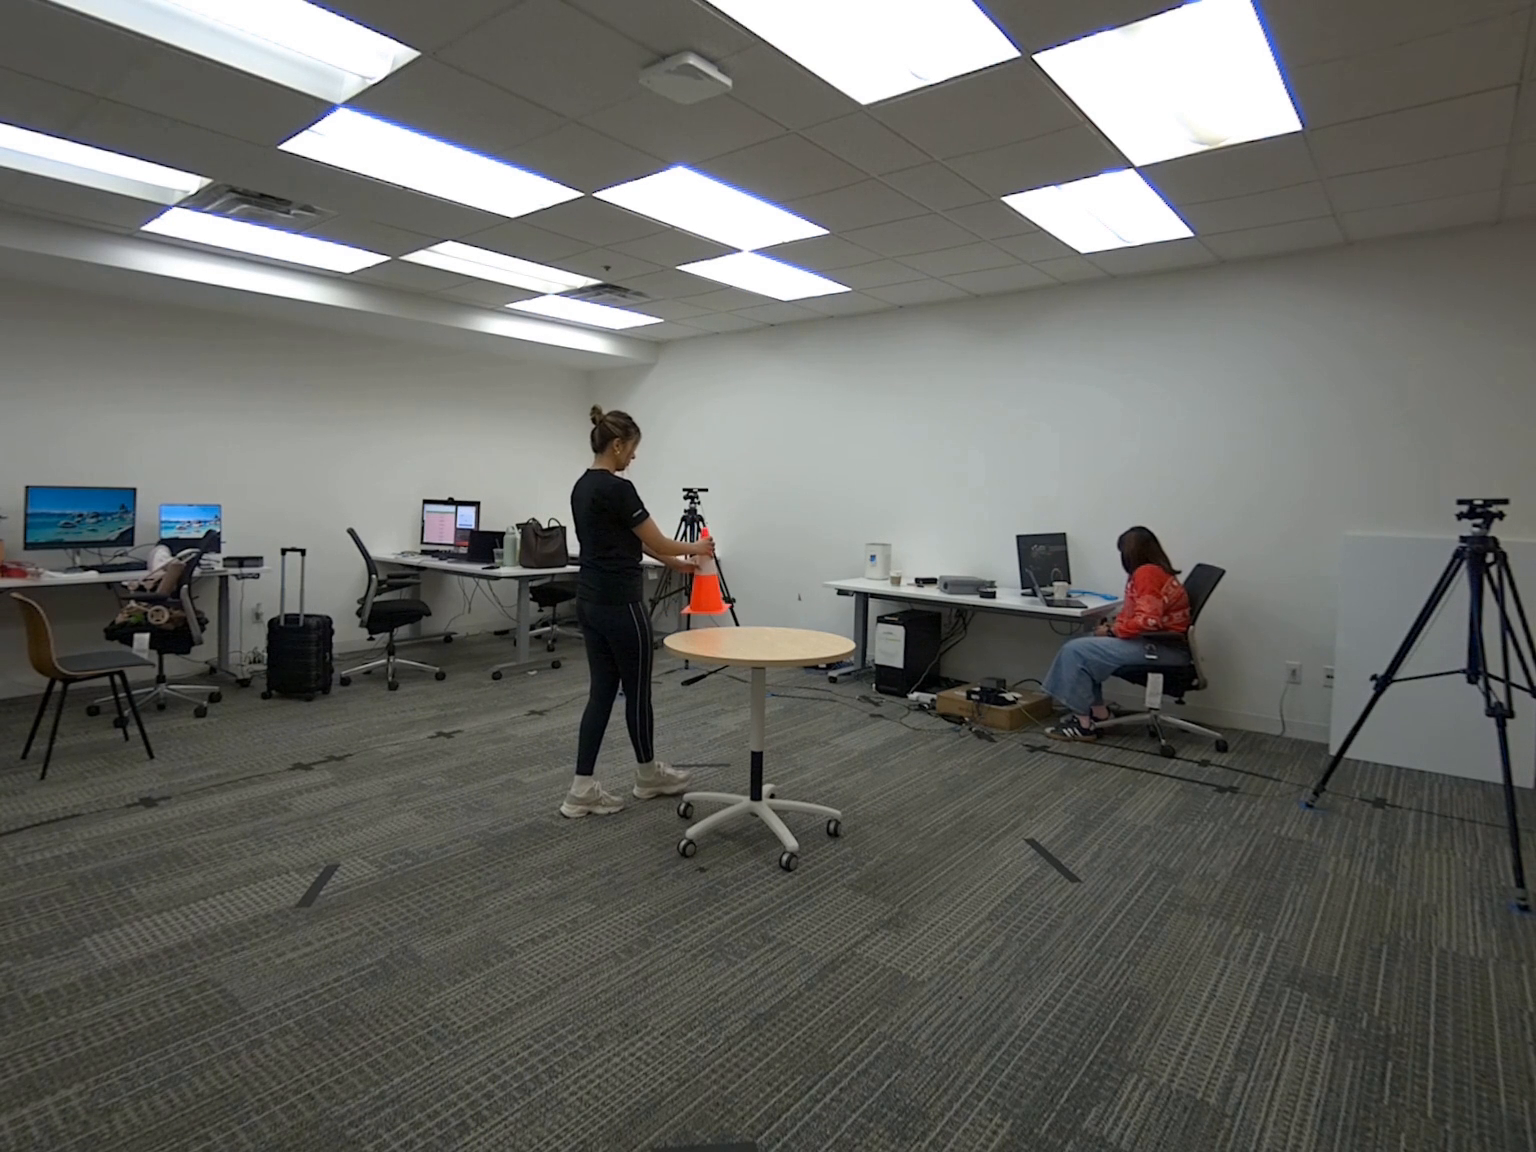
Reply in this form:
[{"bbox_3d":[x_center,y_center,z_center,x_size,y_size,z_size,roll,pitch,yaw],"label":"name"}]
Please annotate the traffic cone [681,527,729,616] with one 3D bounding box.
[{"bbox_3d":[-0.309,-0.033,3.943,0.209,0.381,0.201,1,9,17],"label":"traffic cone"}]
